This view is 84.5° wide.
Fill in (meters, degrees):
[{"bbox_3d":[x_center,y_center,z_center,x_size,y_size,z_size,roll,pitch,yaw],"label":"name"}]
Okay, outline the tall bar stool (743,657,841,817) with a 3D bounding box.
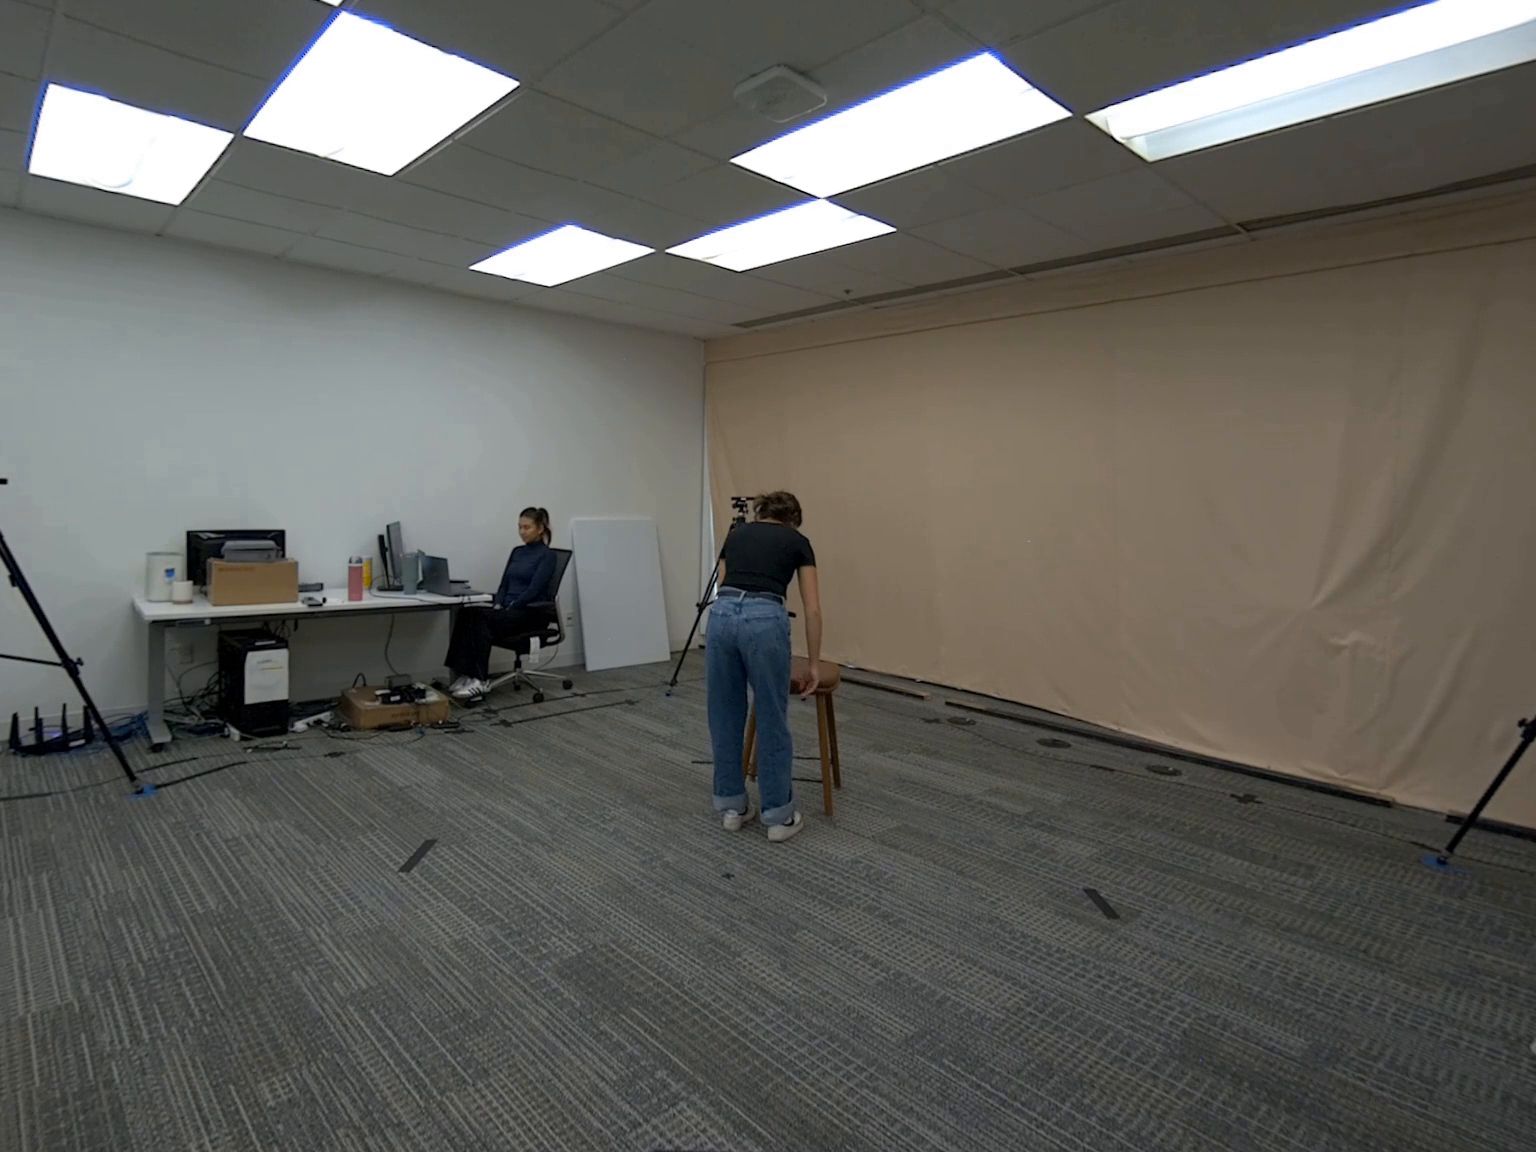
[{"bbox_3d":[0.100,0.606,3.954,0.472,0.888,0.452,0,2,12],"label":"tall bar stool"}]
